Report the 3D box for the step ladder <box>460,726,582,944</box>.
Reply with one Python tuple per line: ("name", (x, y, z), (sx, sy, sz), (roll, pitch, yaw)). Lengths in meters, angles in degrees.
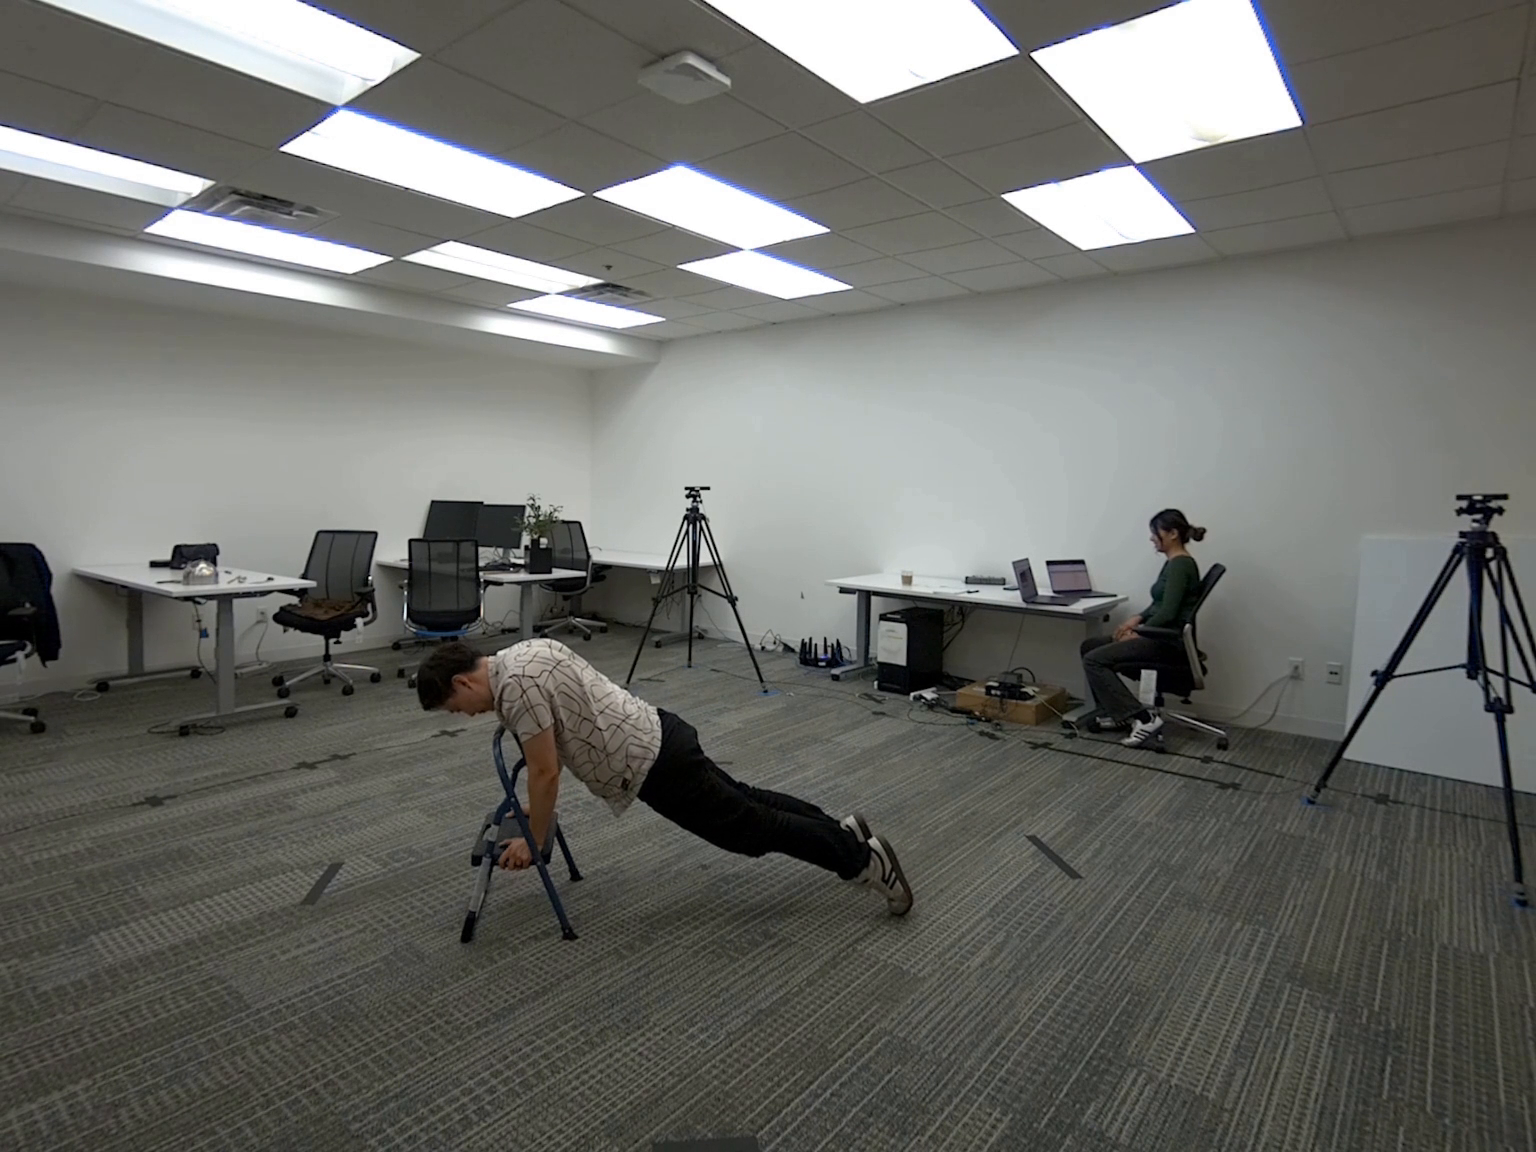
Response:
("step ladder", (-0.804, 0.794, 2.782), (0.346, 0.605, 0.436), (1, 3, -9))
